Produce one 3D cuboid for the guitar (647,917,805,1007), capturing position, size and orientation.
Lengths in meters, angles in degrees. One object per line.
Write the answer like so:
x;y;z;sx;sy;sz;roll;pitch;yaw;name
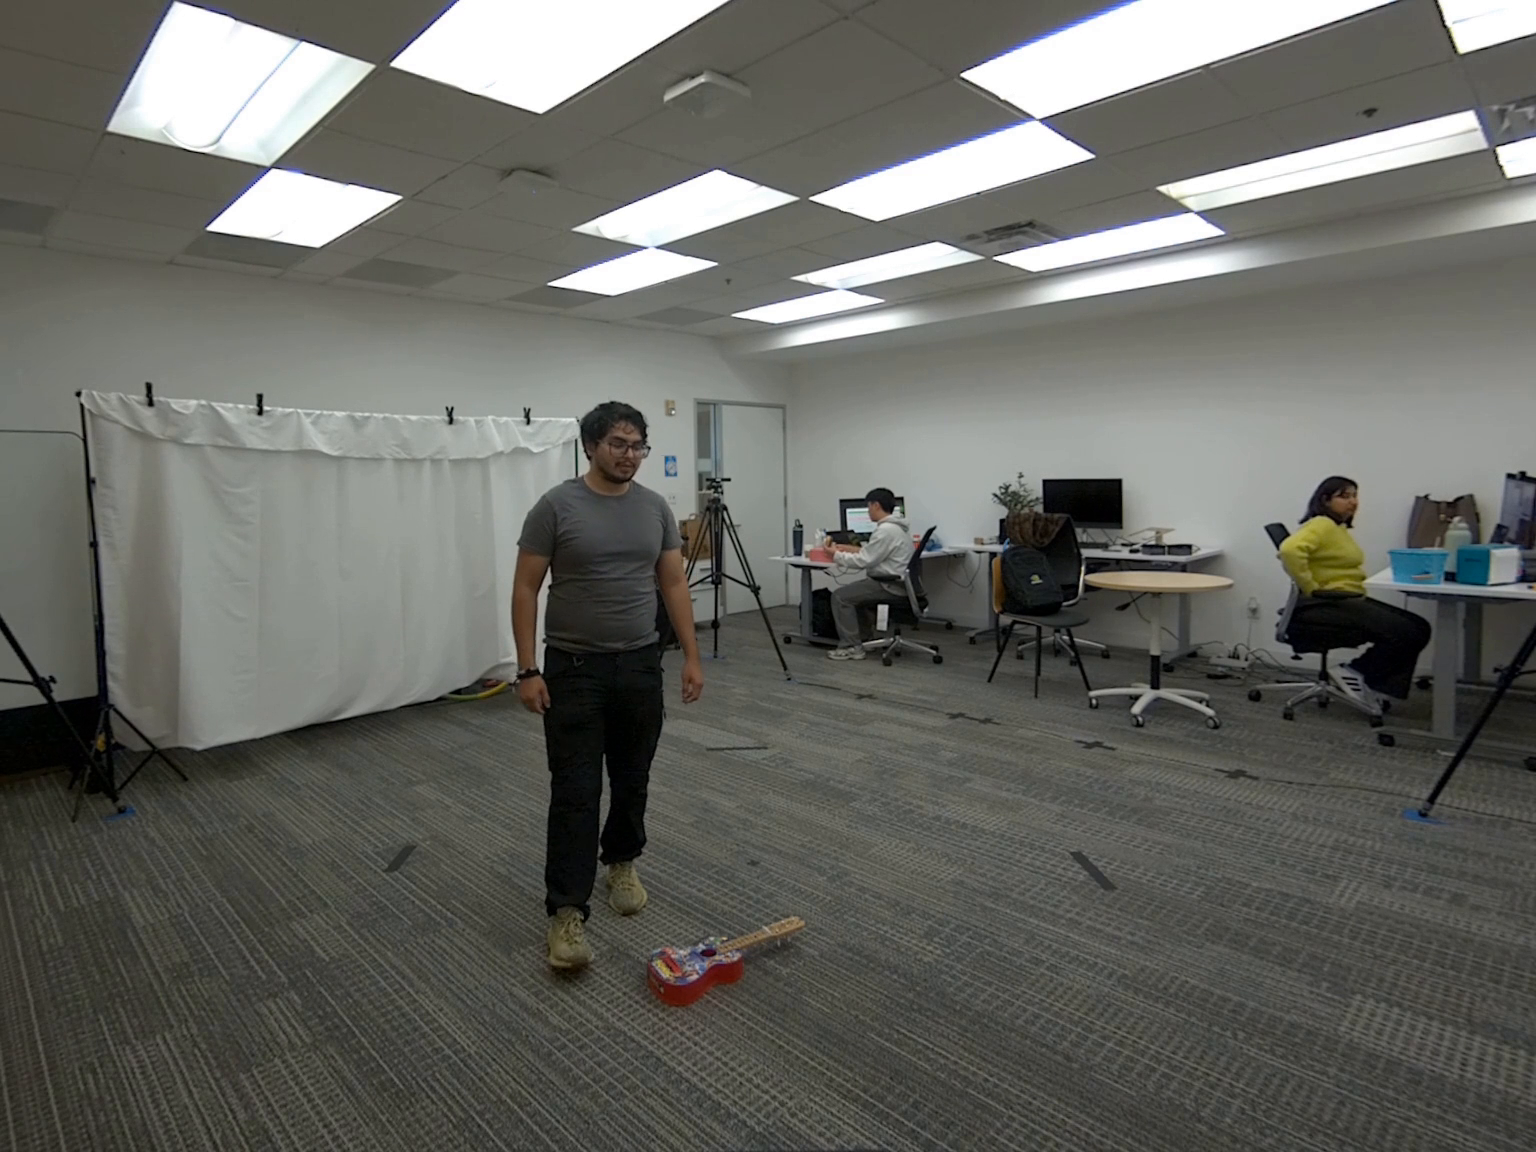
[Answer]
-0.089;1.090;2.429;0.489;0.070;0.197;-4;6;-22;guitar
